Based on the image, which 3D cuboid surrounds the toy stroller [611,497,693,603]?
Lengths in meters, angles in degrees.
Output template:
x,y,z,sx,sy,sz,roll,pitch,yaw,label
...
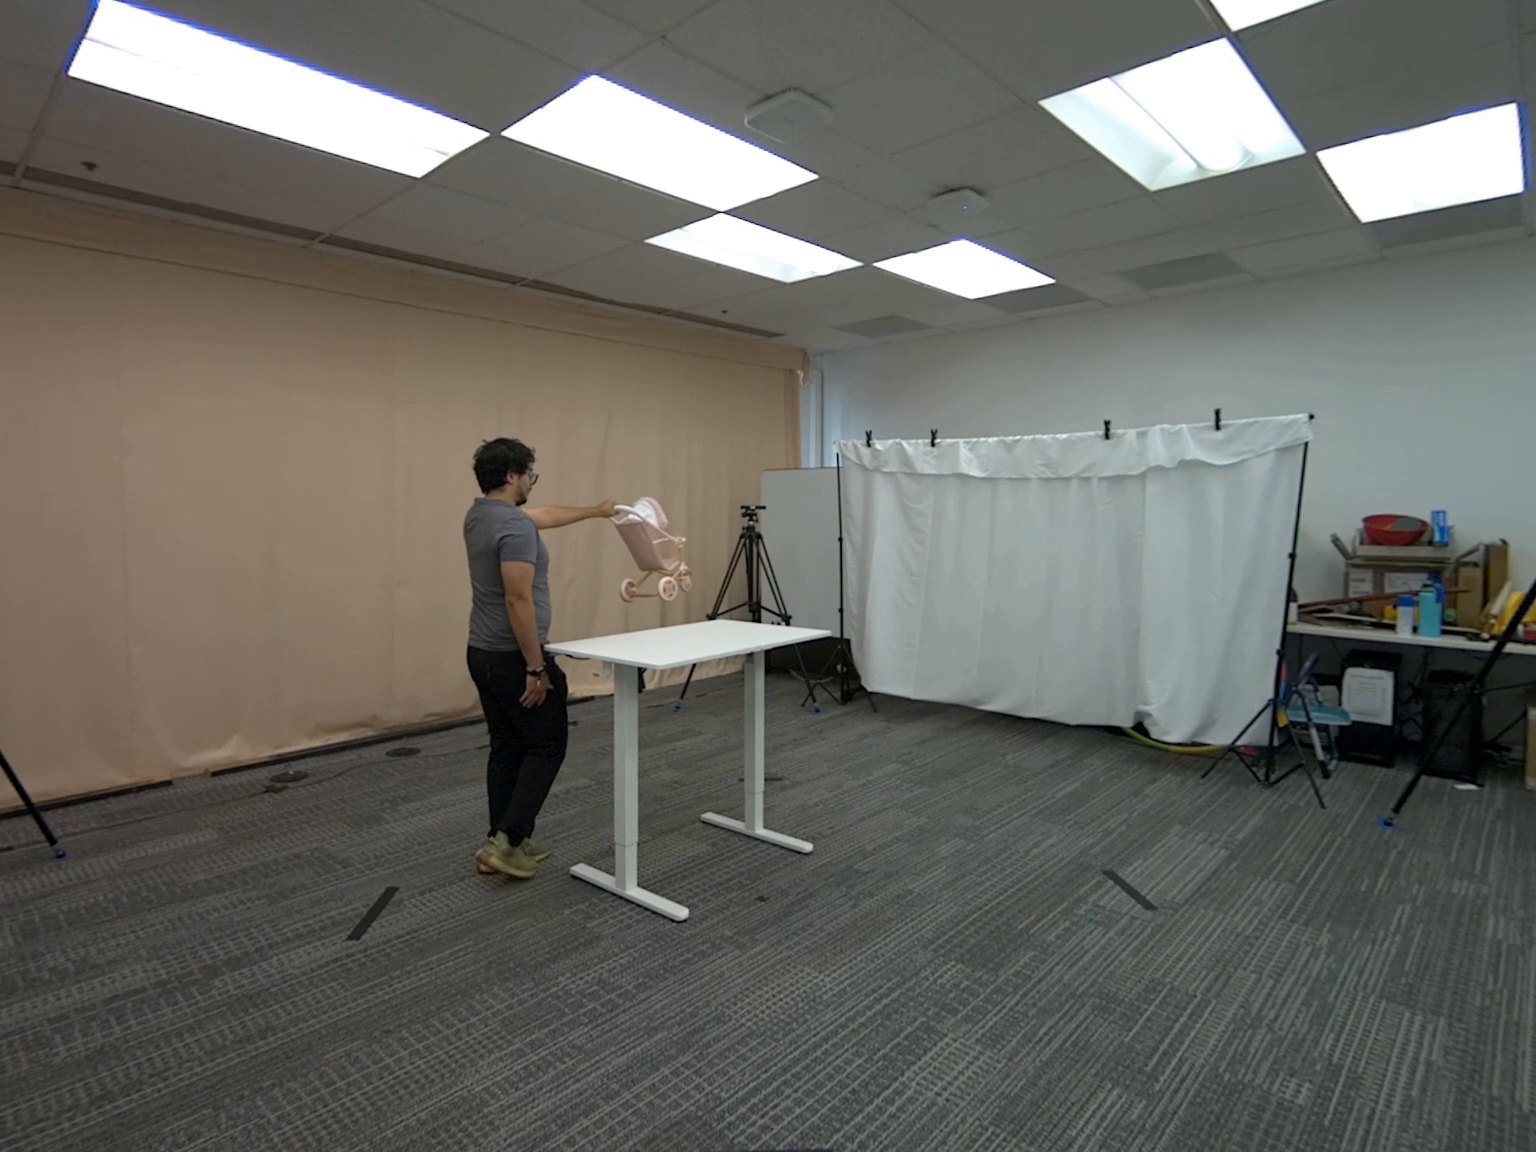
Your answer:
x,y,z,sx,sy,sz,roll,pitch,yaw,label
-0.532,-0.115,3.857,0.290,0.528,0.335,-3,19,43,toy stroller
